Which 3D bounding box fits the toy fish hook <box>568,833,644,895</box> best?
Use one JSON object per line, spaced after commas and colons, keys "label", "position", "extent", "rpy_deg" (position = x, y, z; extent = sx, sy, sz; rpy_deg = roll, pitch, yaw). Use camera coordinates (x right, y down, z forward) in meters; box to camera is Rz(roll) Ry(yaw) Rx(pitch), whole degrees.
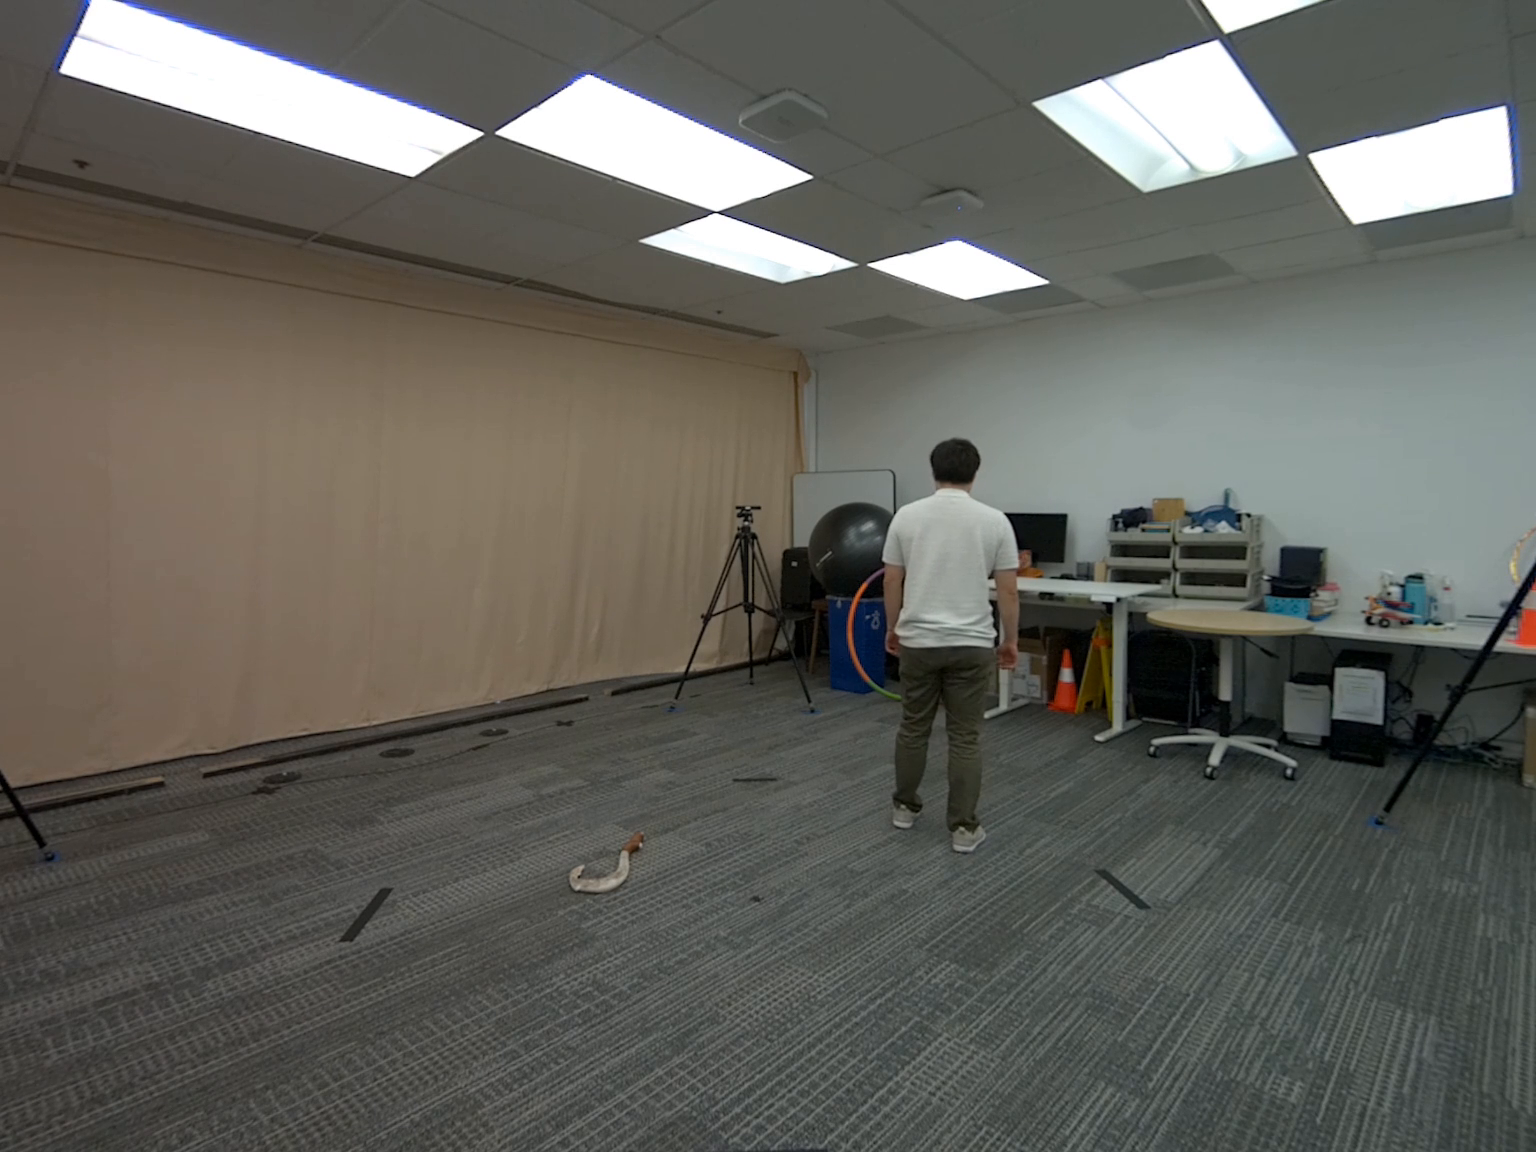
{"label": "toy fish hook", "position": [-0.618, 1.102, 3.274], "extent": [0.227, 0.048, 0.503], "rpy_deg": [1, 5, 8]}
